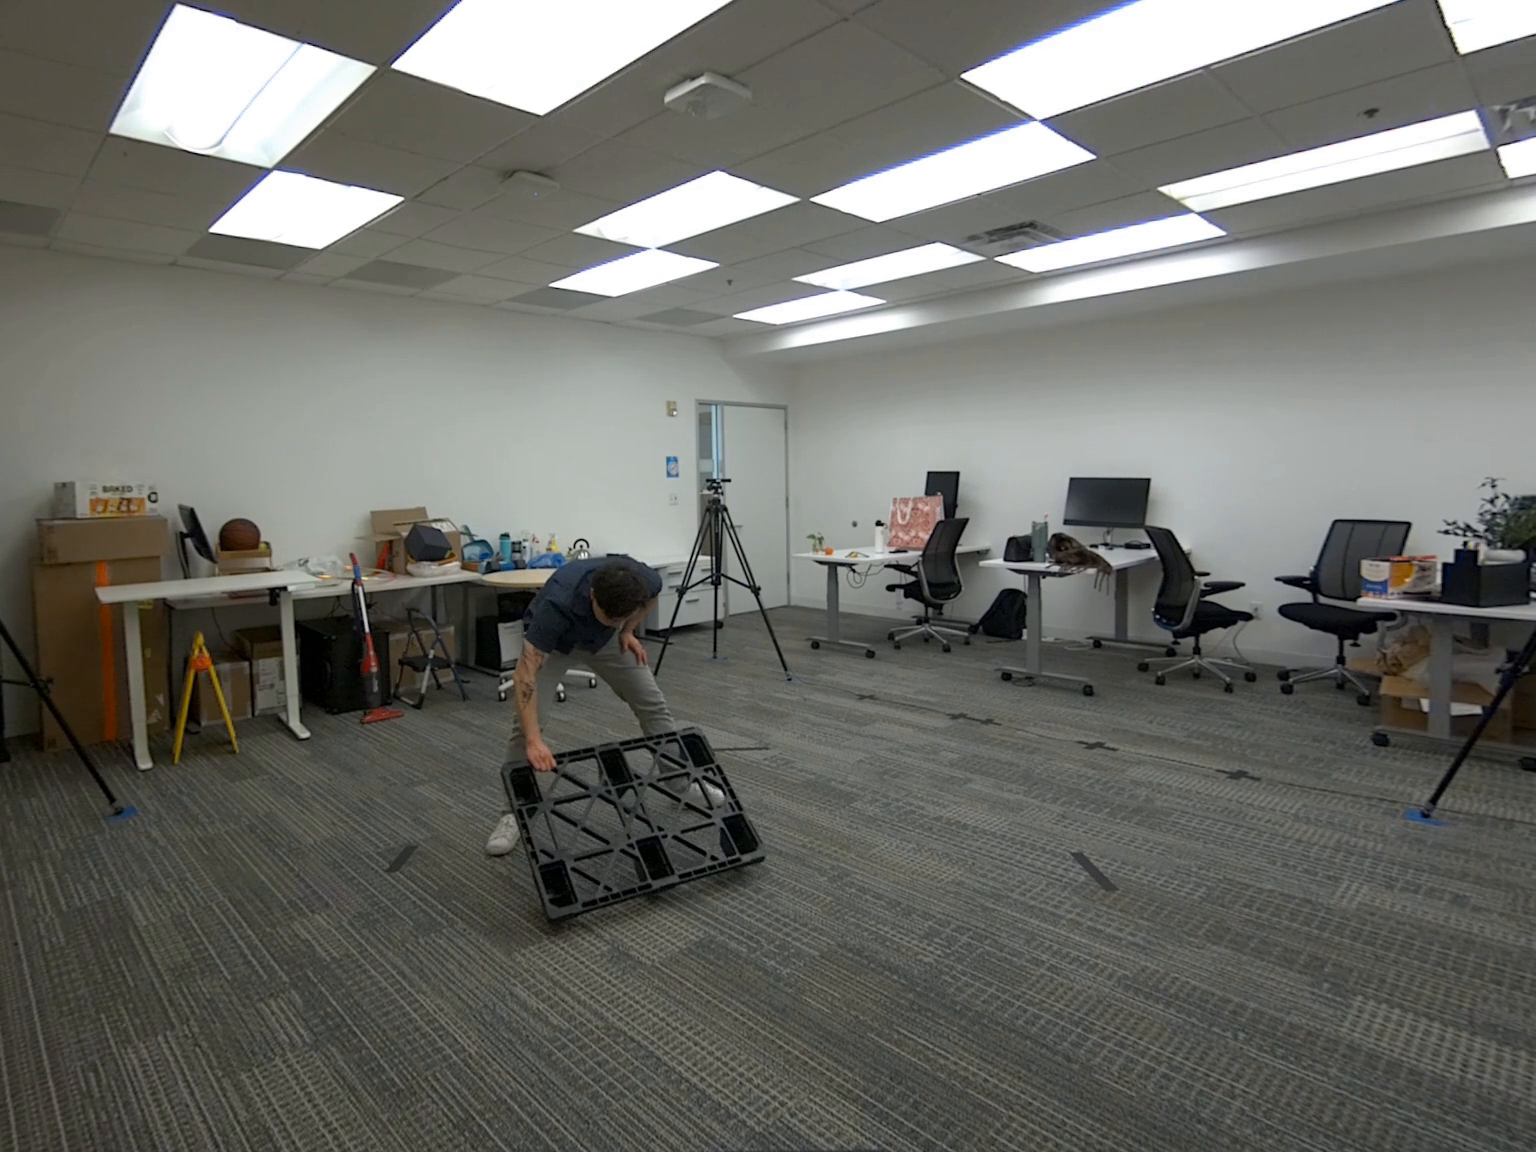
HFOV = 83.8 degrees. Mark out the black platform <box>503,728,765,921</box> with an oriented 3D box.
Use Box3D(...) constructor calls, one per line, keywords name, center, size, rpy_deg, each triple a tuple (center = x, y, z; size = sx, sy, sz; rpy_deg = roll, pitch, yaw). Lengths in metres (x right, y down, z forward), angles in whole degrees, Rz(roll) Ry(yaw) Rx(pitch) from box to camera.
Box3D(name="black platform", center=(-0.487, 0.867, 3.030), size=(0.786, 0.141, 0.629), rpy_deg=(-5, 40, -31))
